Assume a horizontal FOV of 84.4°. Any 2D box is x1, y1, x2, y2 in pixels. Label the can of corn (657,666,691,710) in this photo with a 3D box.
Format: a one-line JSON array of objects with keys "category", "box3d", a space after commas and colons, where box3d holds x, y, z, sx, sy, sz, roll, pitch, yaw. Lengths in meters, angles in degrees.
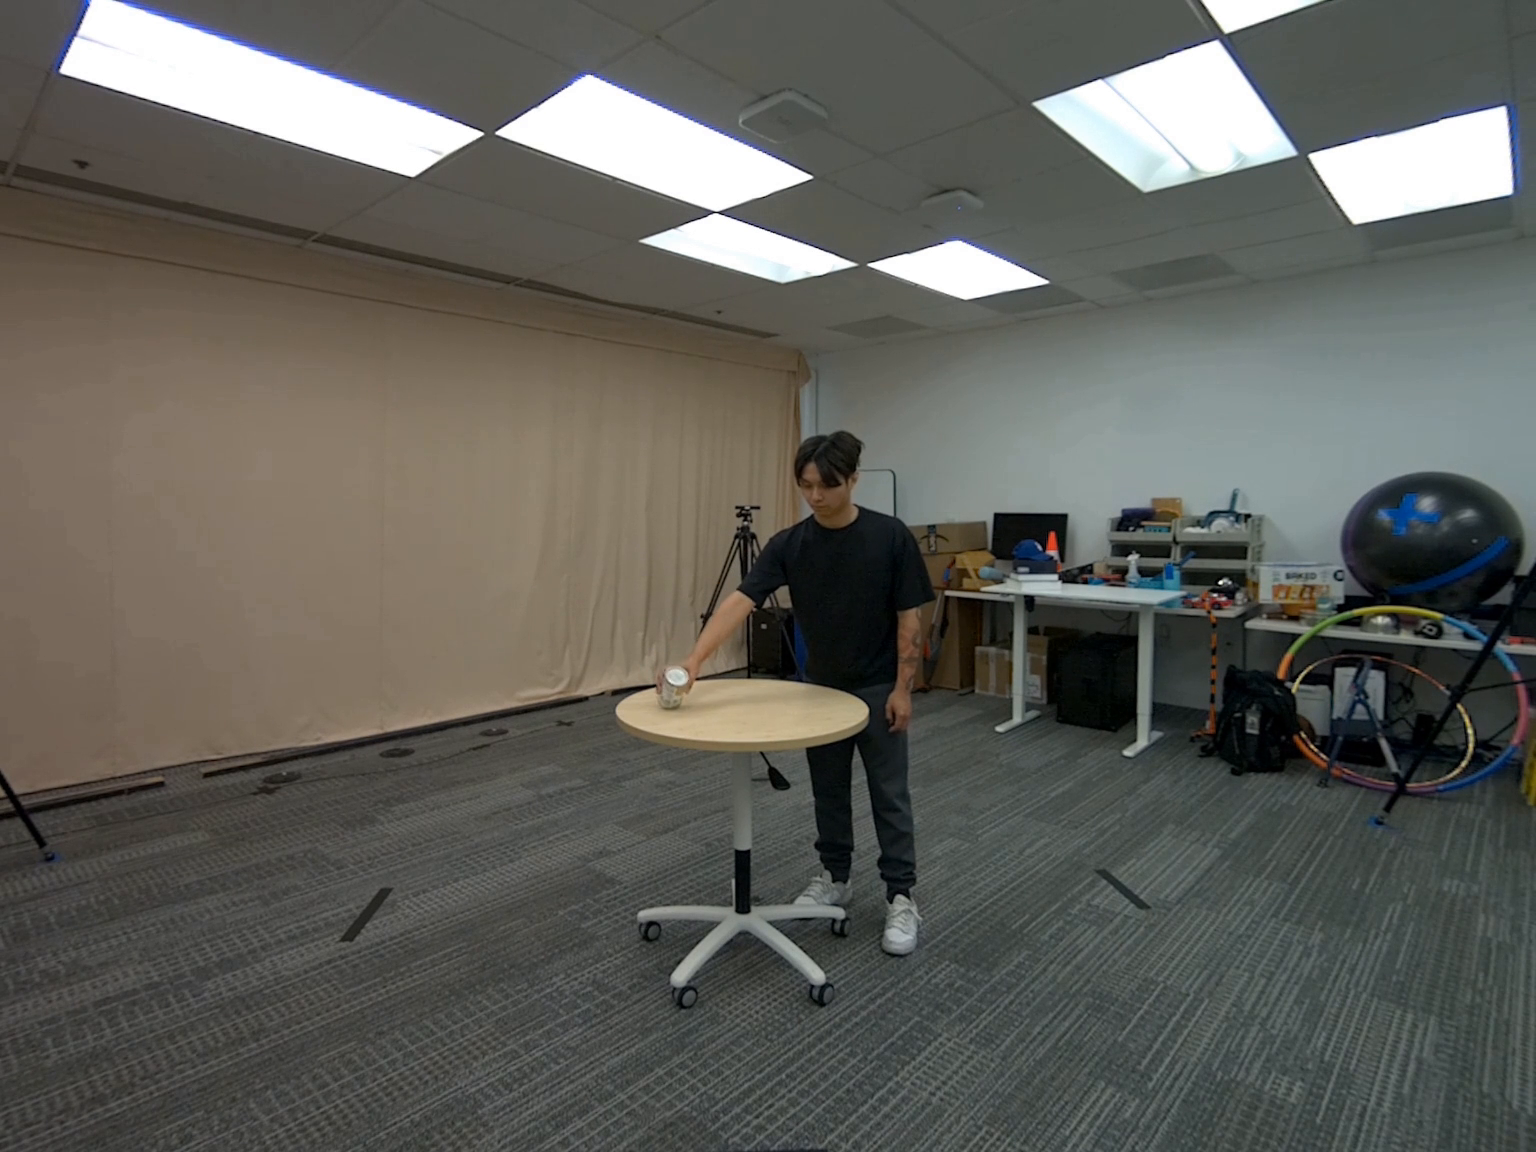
[{"category": "can of corn", "box3d": [-0.284, 0.341, 2.528, 0.073, 0.110, 0.075, 11, 40, -11]}]
